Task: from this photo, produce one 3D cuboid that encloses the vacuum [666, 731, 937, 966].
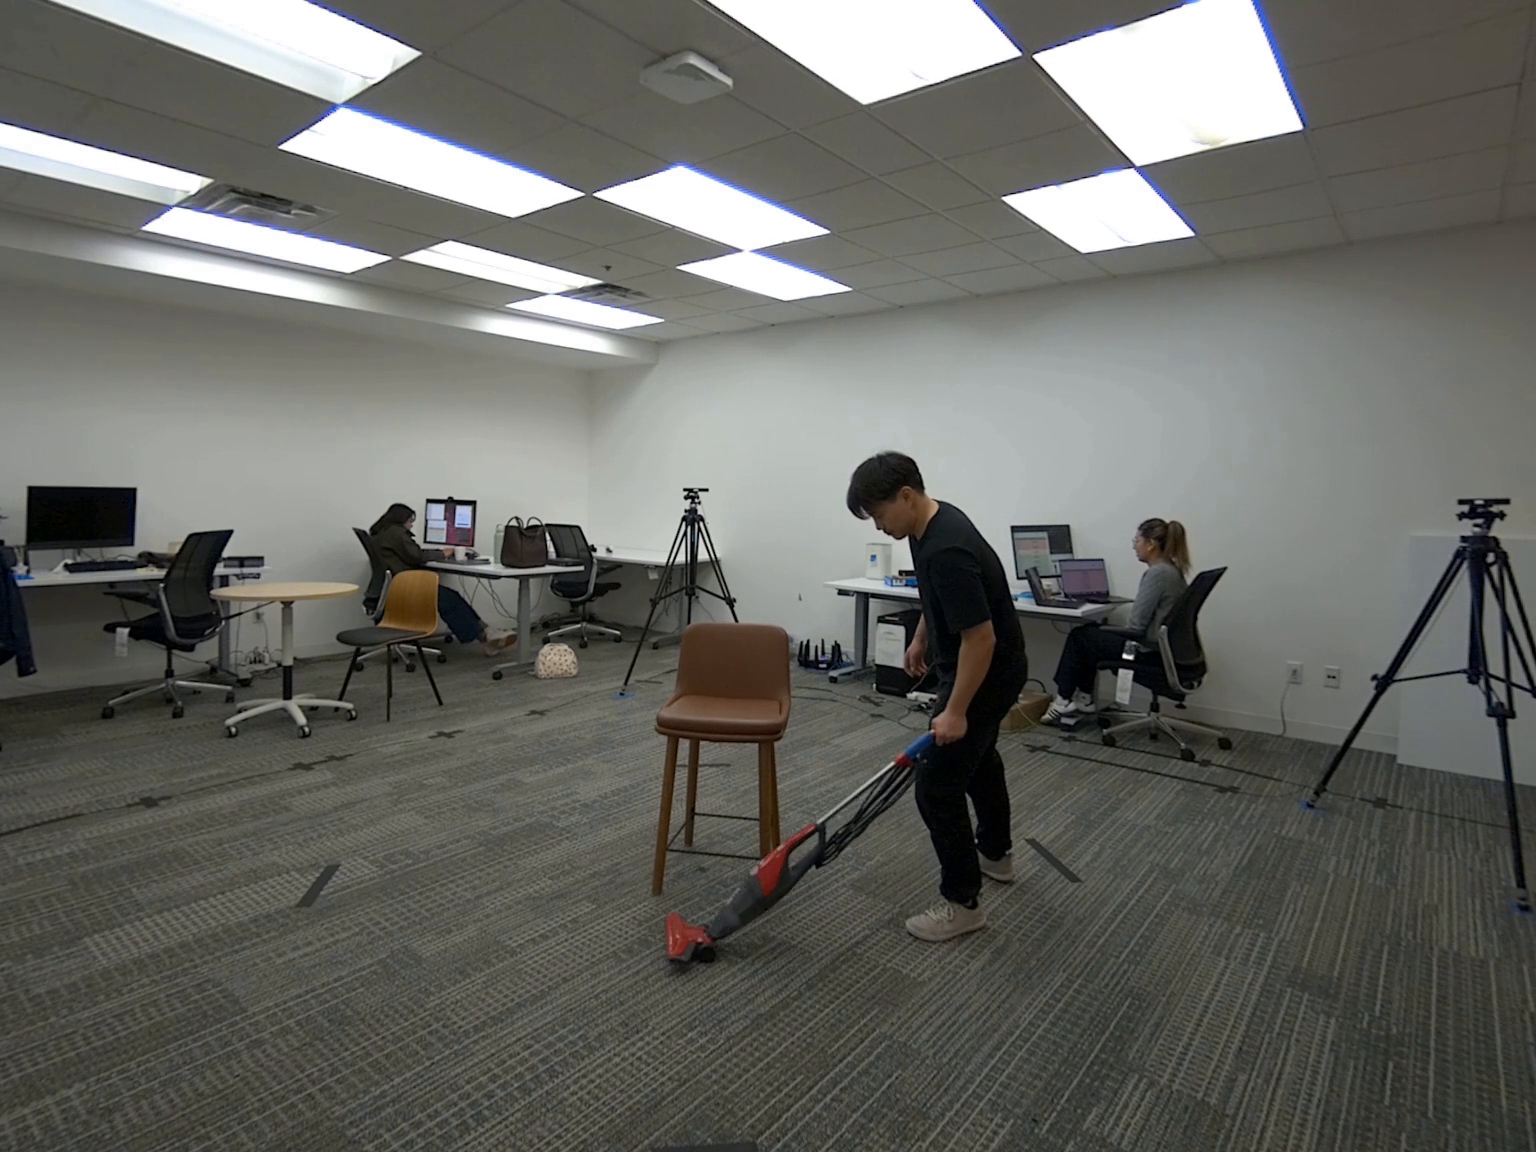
[{"bbox_3d":[0.177,0.787,2.560,1.049,0.143,0.254,-37,6,-2],"label":"vacuum"}]
